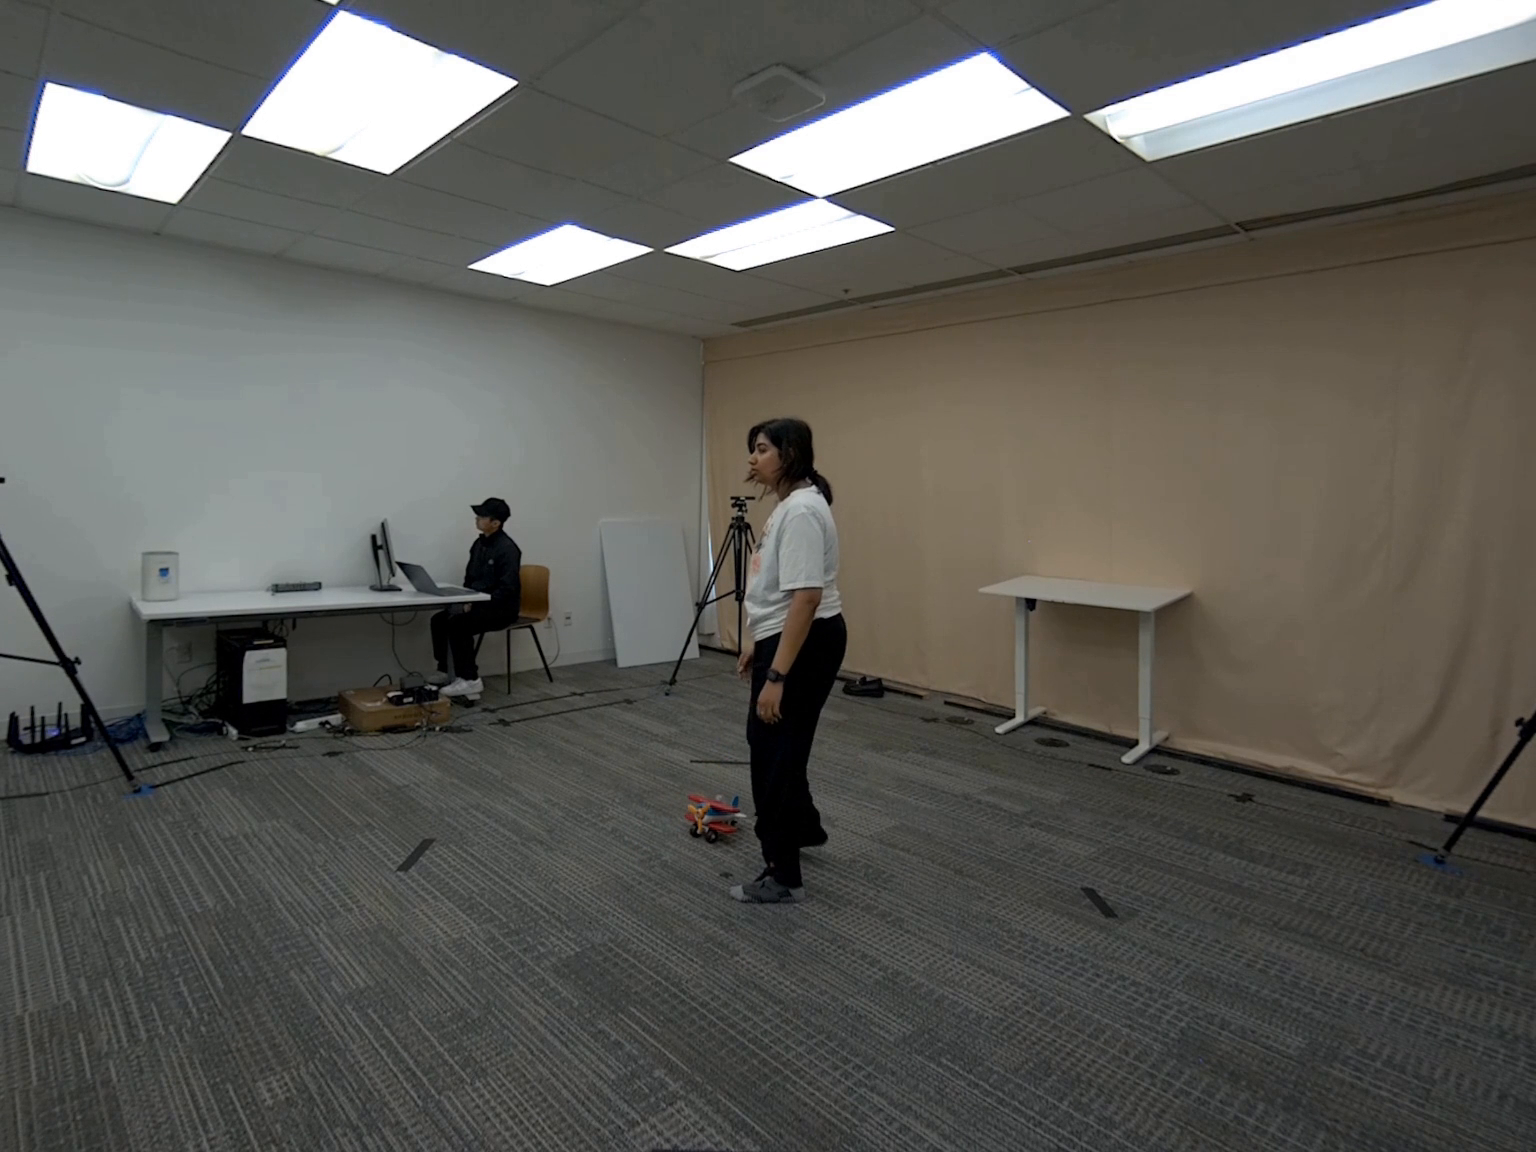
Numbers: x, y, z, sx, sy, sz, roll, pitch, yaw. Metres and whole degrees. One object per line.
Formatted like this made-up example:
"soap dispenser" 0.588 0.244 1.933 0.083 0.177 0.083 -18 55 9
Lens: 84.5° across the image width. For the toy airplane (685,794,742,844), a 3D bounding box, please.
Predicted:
"toy airplane" -0.235 0.990 3.499 0.253 0.156 0.257 2 5 11
